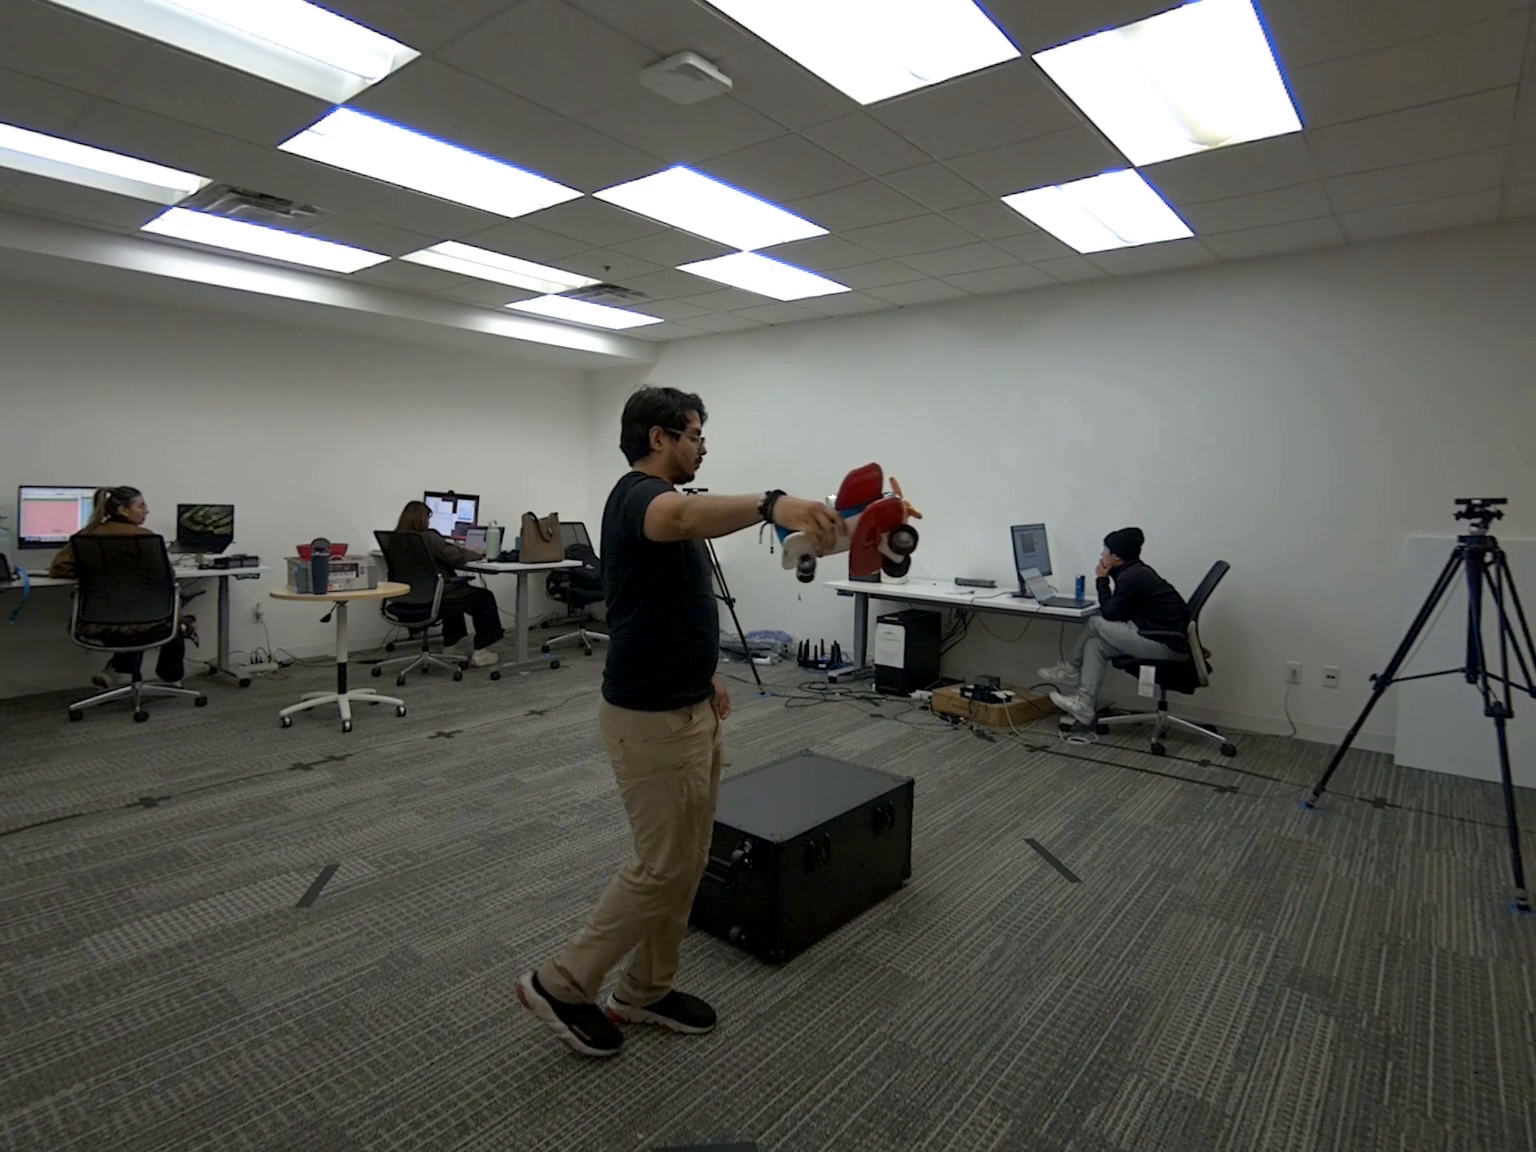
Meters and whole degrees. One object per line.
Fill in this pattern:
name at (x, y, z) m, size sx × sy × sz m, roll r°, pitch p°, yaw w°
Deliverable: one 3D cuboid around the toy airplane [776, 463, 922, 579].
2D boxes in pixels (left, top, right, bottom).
toy airplane at (0.146, -0.085, 1.558) m, size 0.252 × 0.161 × 0.251 m, roll 9°, pitch -35°, yaw -28°
